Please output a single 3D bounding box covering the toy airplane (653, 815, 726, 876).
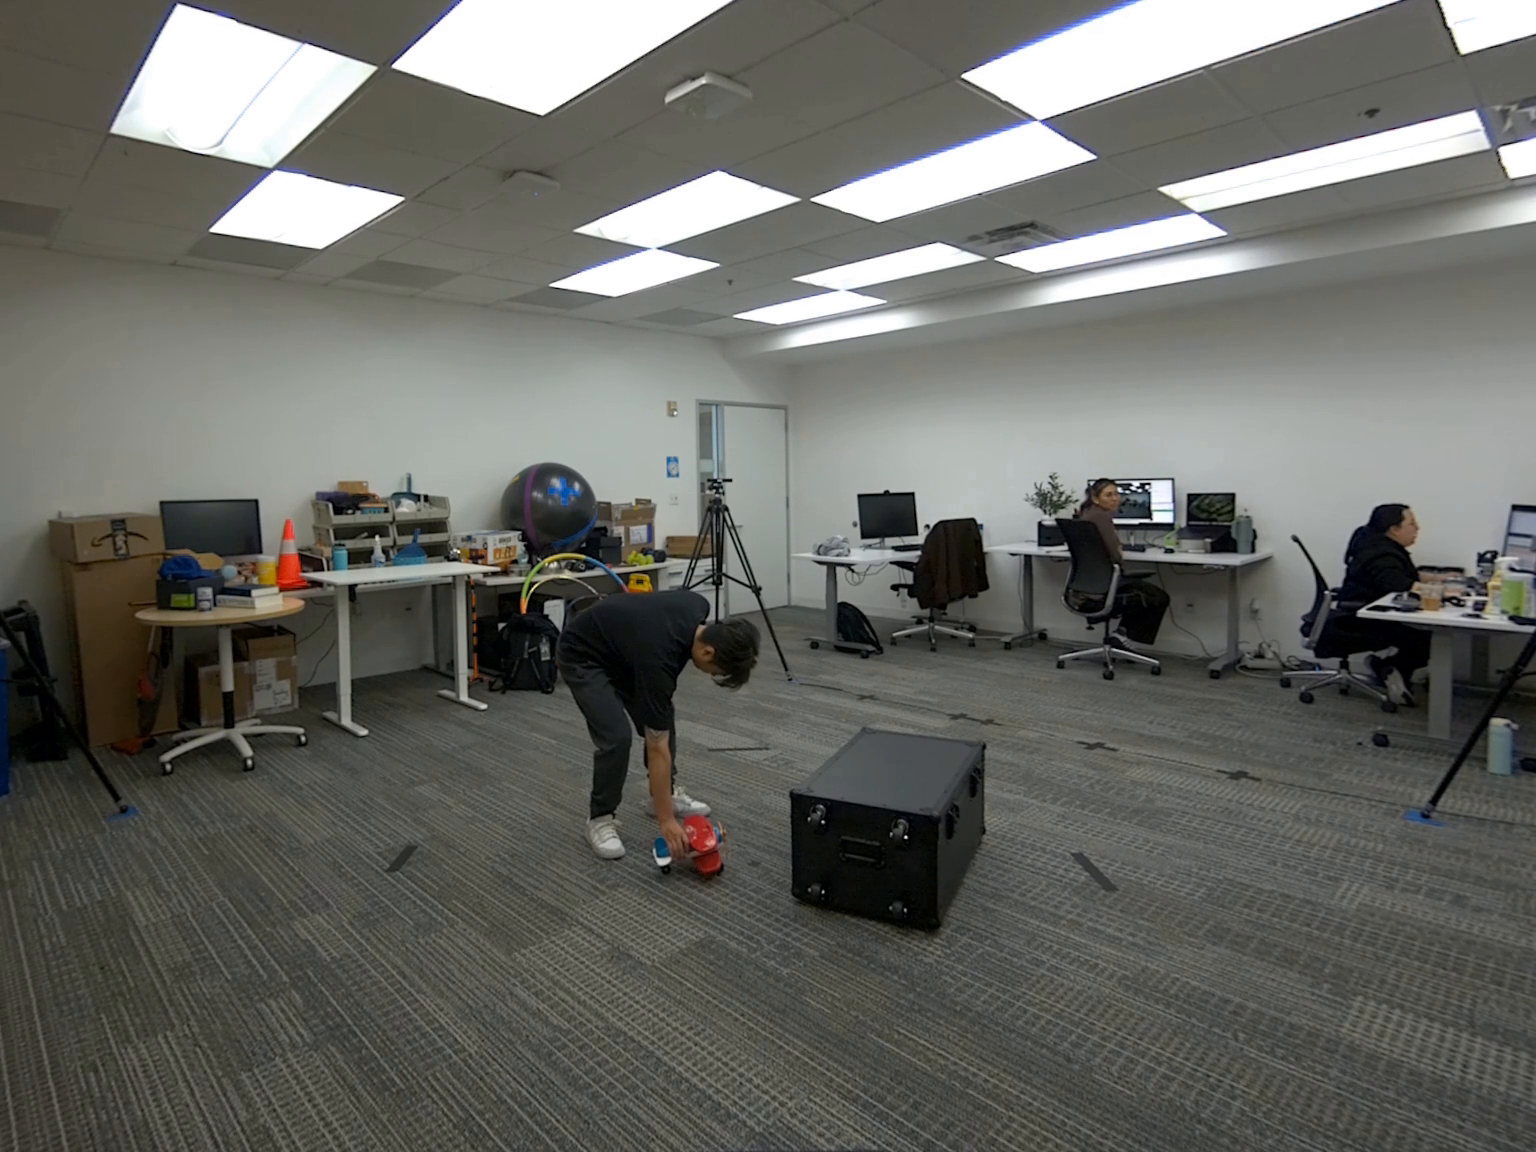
[{"bbox_3d":[-0.260,0.972,3.020,0.252,0.155,0.259,-4,11,-44],"label":"toy airplane"}]
